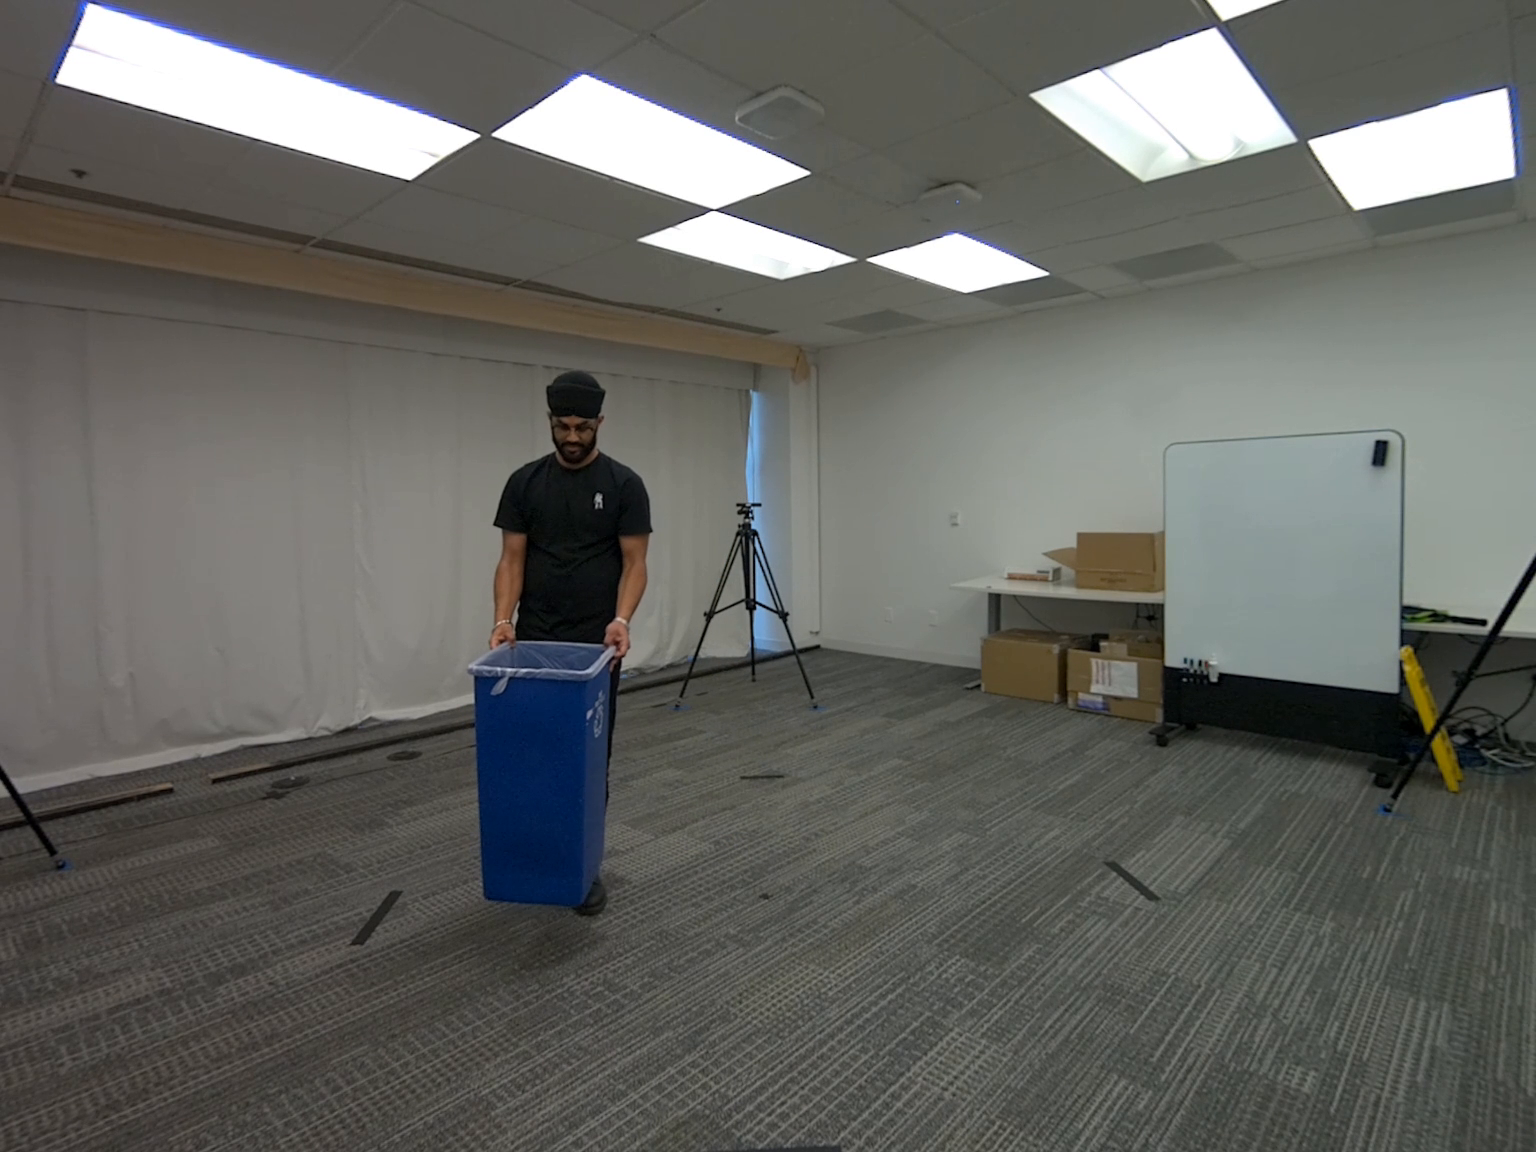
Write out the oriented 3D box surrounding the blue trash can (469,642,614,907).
[{"bbox_3d":[-0.686,0.595,2.594,0.380,0.711,0.373,2,7,4],"label":"blue trash can"}]
